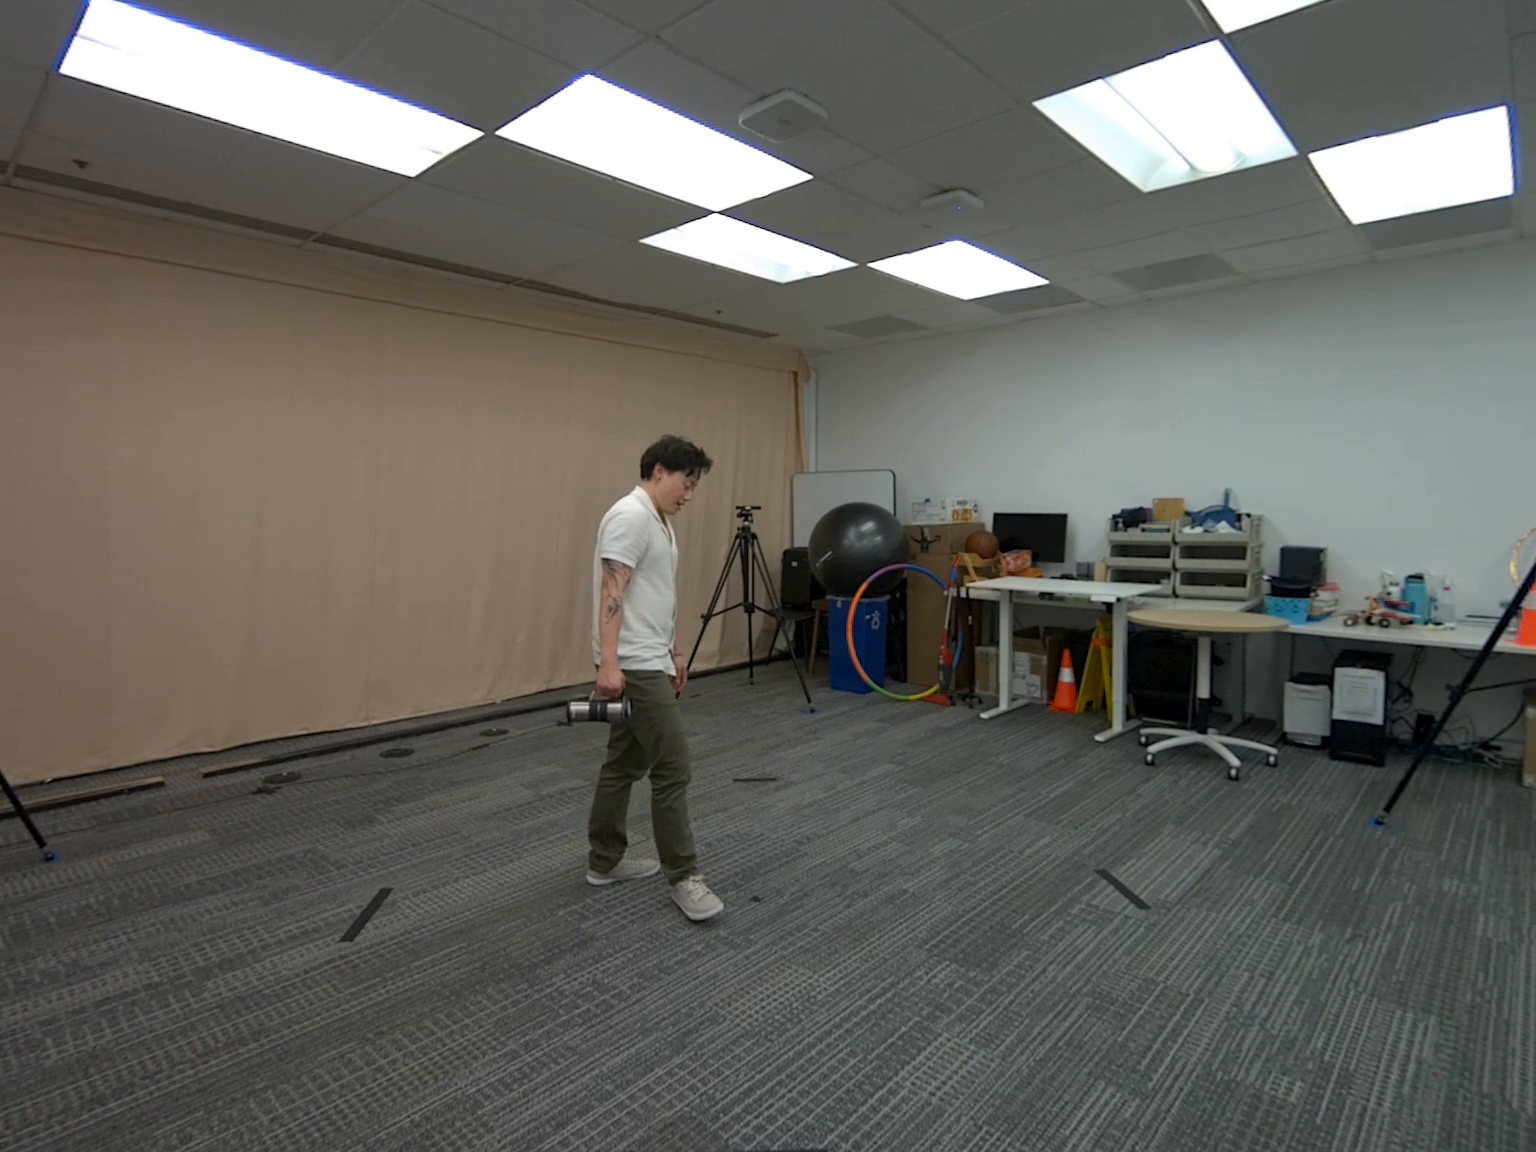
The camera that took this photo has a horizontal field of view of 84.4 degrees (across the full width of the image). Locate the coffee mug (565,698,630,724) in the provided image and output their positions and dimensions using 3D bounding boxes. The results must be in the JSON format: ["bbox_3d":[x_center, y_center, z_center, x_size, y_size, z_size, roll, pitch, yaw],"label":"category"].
[{"bbox_3d":[-0.547,0.420,2.752,0.204,0.124,0.086,3,-36,3],"label":"coffee mug"}]
